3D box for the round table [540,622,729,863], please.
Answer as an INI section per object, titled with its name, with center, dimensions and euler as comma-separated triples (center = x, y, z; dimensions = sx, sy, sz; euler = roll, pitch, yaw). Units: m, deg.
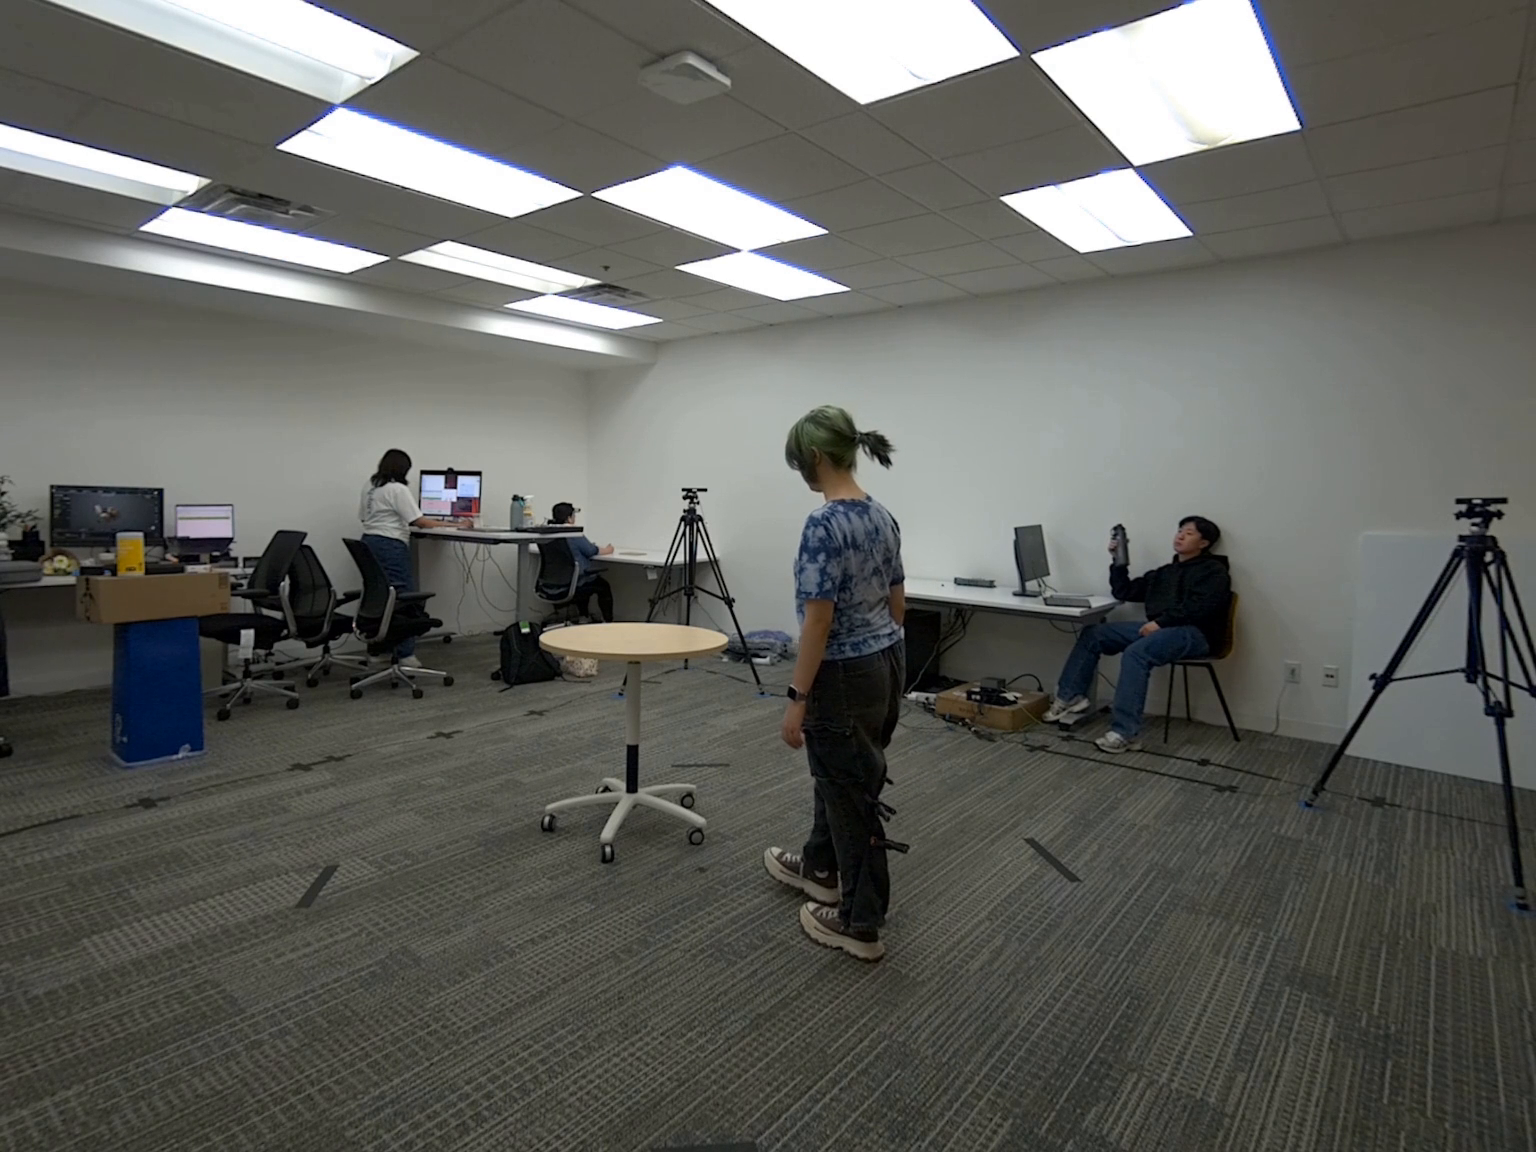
[round table]
center = -0.567, 0.638, 3.490
dimensions = 0.763, 0.792, 0.767
euler = 1, 4, -2
